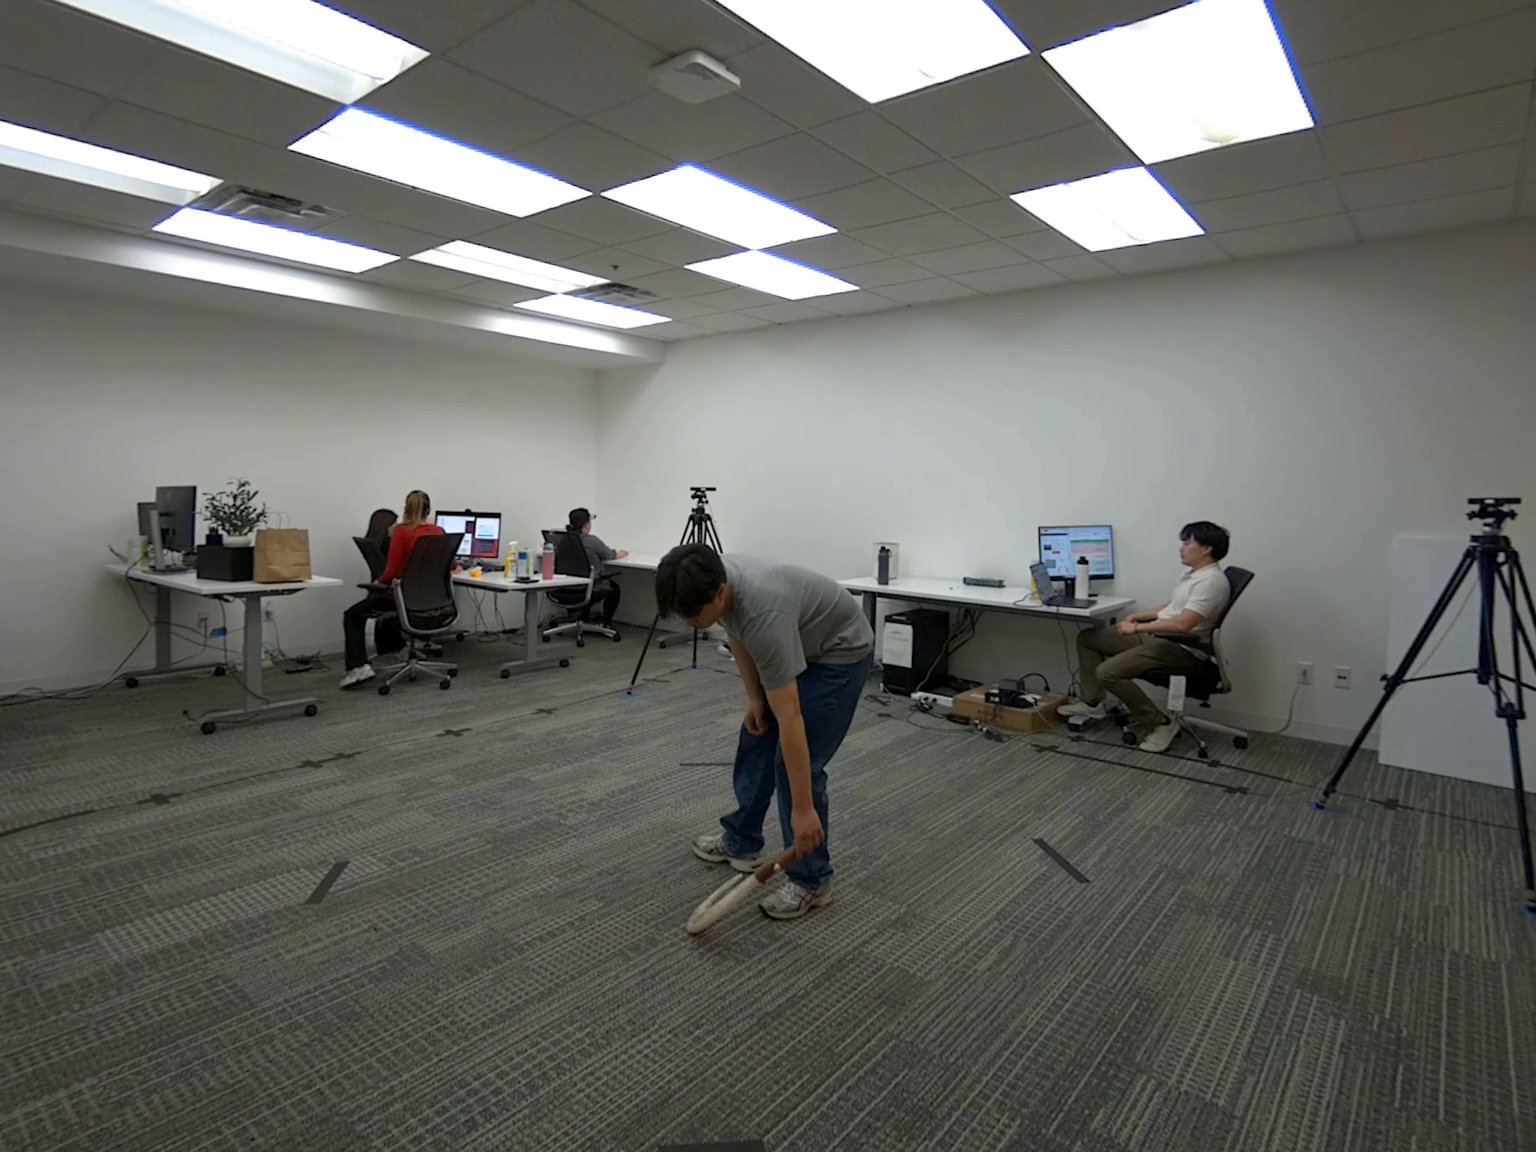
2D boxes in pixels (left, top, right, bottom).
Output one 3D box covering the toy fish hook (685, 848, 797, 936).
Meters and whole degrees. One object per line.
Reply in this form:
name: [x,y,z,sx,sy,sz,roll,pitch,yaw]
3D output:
toy fish hook: [-0.076,0.940,2.643,0.508,0.048,0.223,-39,1,16]
